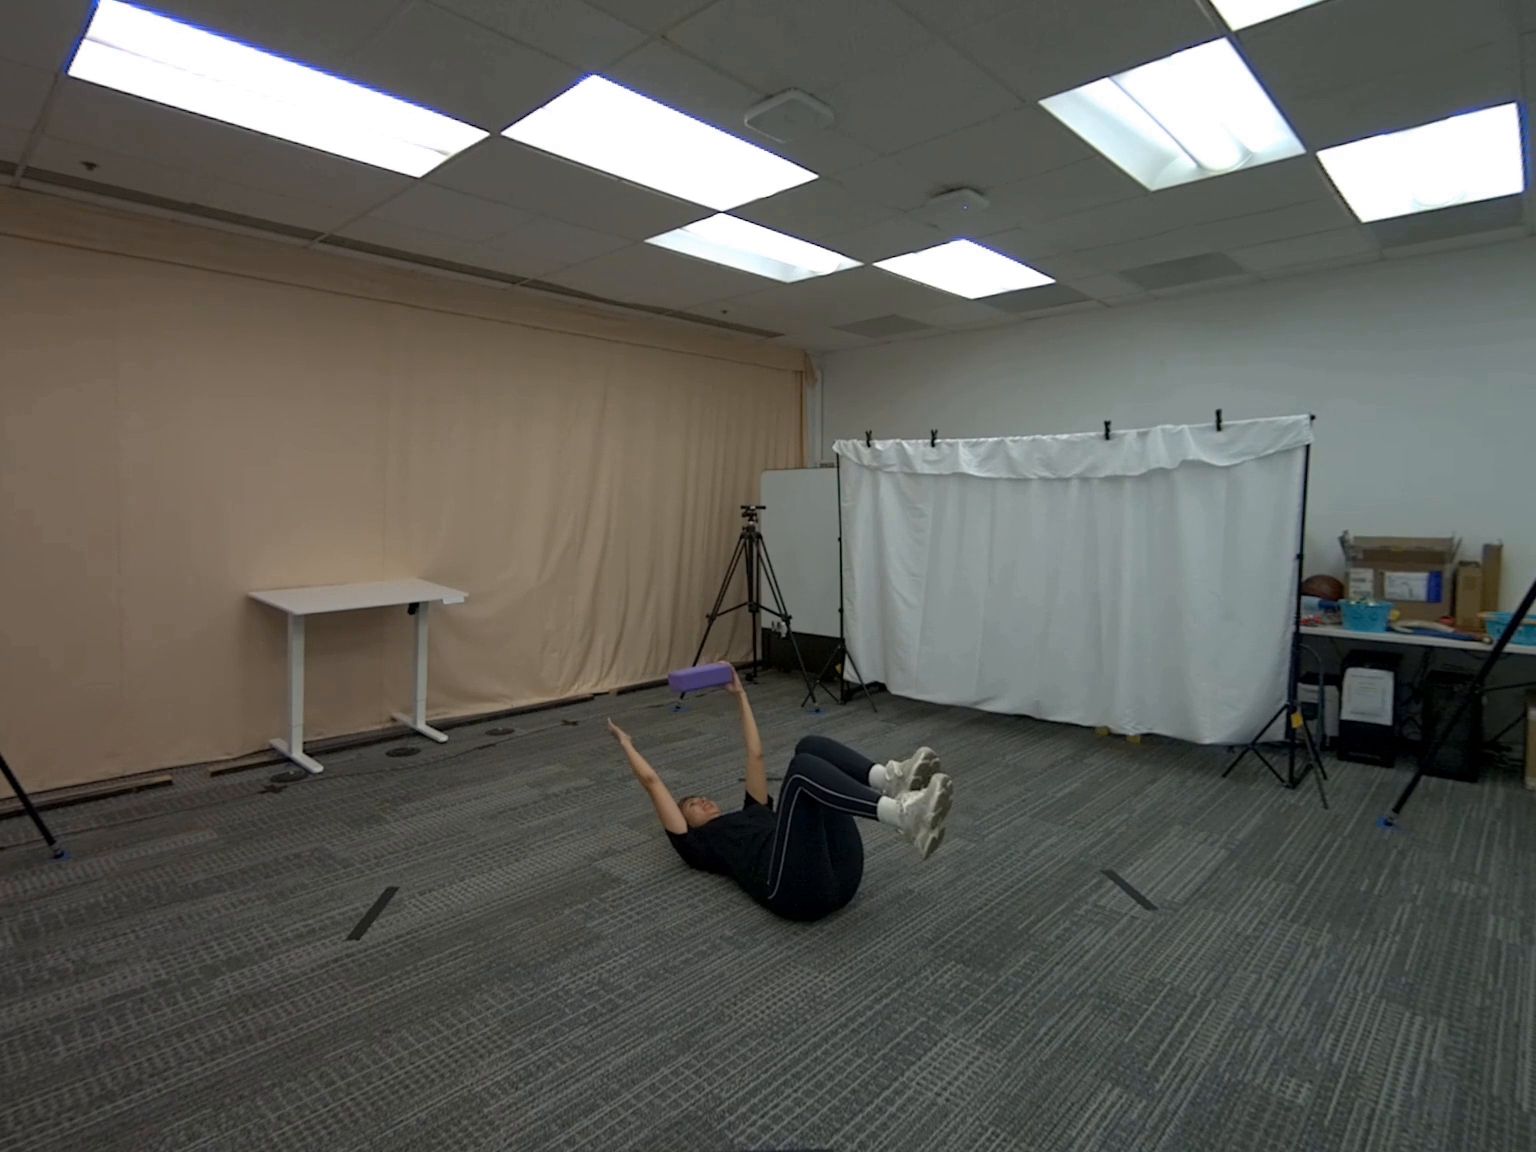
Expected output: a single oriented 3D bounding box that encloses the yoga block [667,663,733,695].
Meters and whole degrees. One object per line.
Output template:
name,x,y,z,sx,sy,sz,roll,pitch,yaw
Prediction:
yoga block,-0.283,0.419,3.486,0.224,0.076,0.152,-9,2,-24
